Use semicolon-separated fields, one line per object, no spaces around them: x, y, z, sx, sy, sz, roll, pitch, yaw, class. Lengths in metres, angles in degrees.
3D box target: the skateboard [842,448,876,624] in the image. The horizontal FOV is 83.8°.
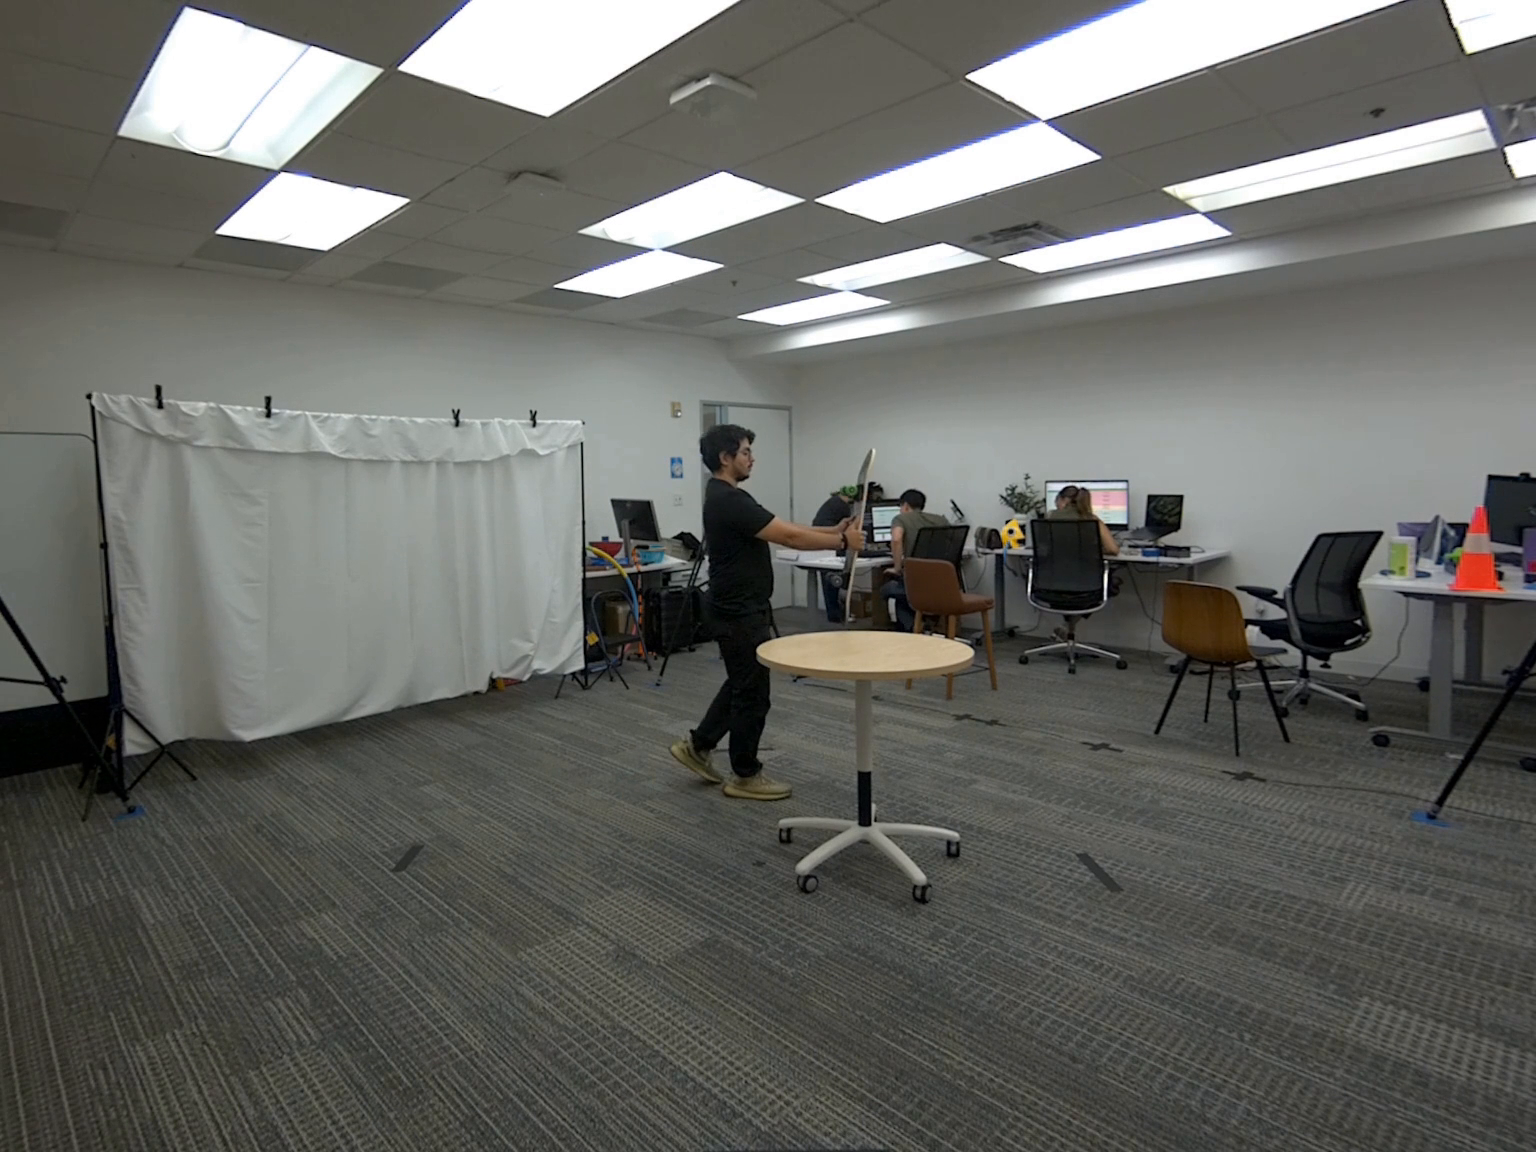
0.347;-0.171;3.766;0.110;0.784;0.195;9;2;-7;skateboard
